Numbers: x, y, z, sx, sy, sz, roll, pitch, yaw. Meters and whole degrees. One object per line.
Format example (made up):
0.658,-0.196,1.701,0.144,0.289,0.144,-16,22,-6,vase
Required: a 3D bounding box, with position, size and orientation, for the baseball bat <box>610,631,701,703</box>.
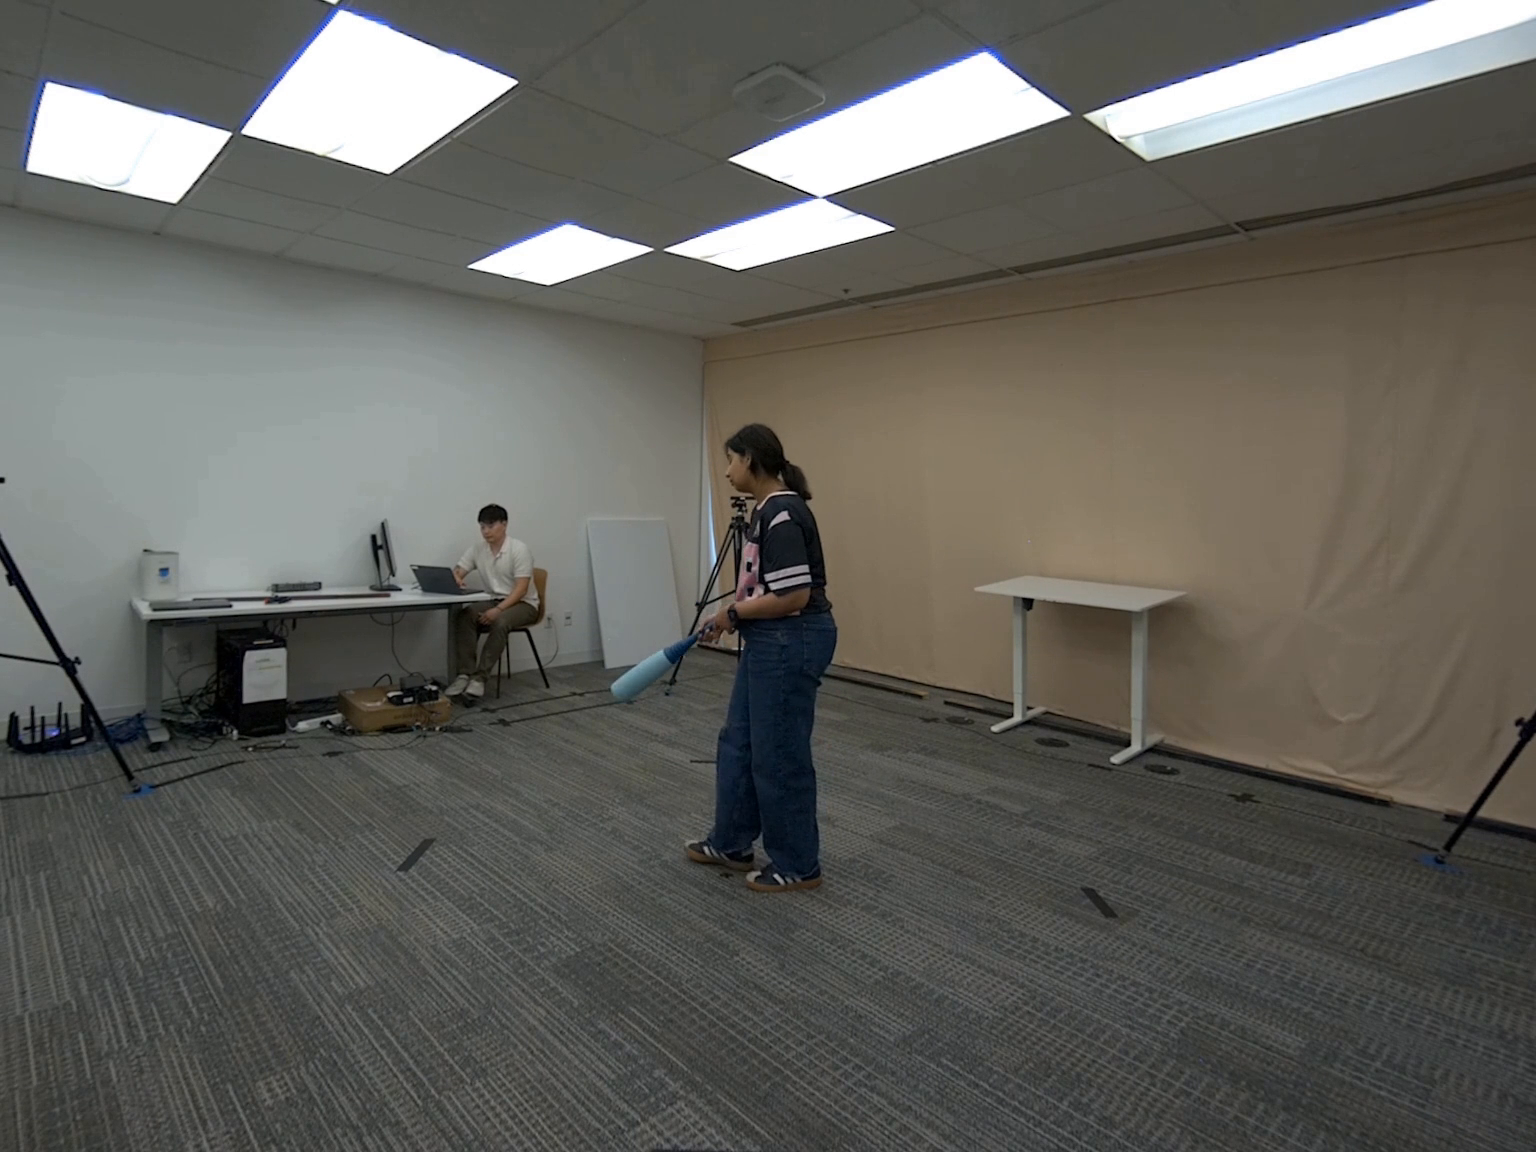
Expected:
-0.351,0.291,3.054,0.544,0.089,0.089,-36,-1,9,baseball bat
